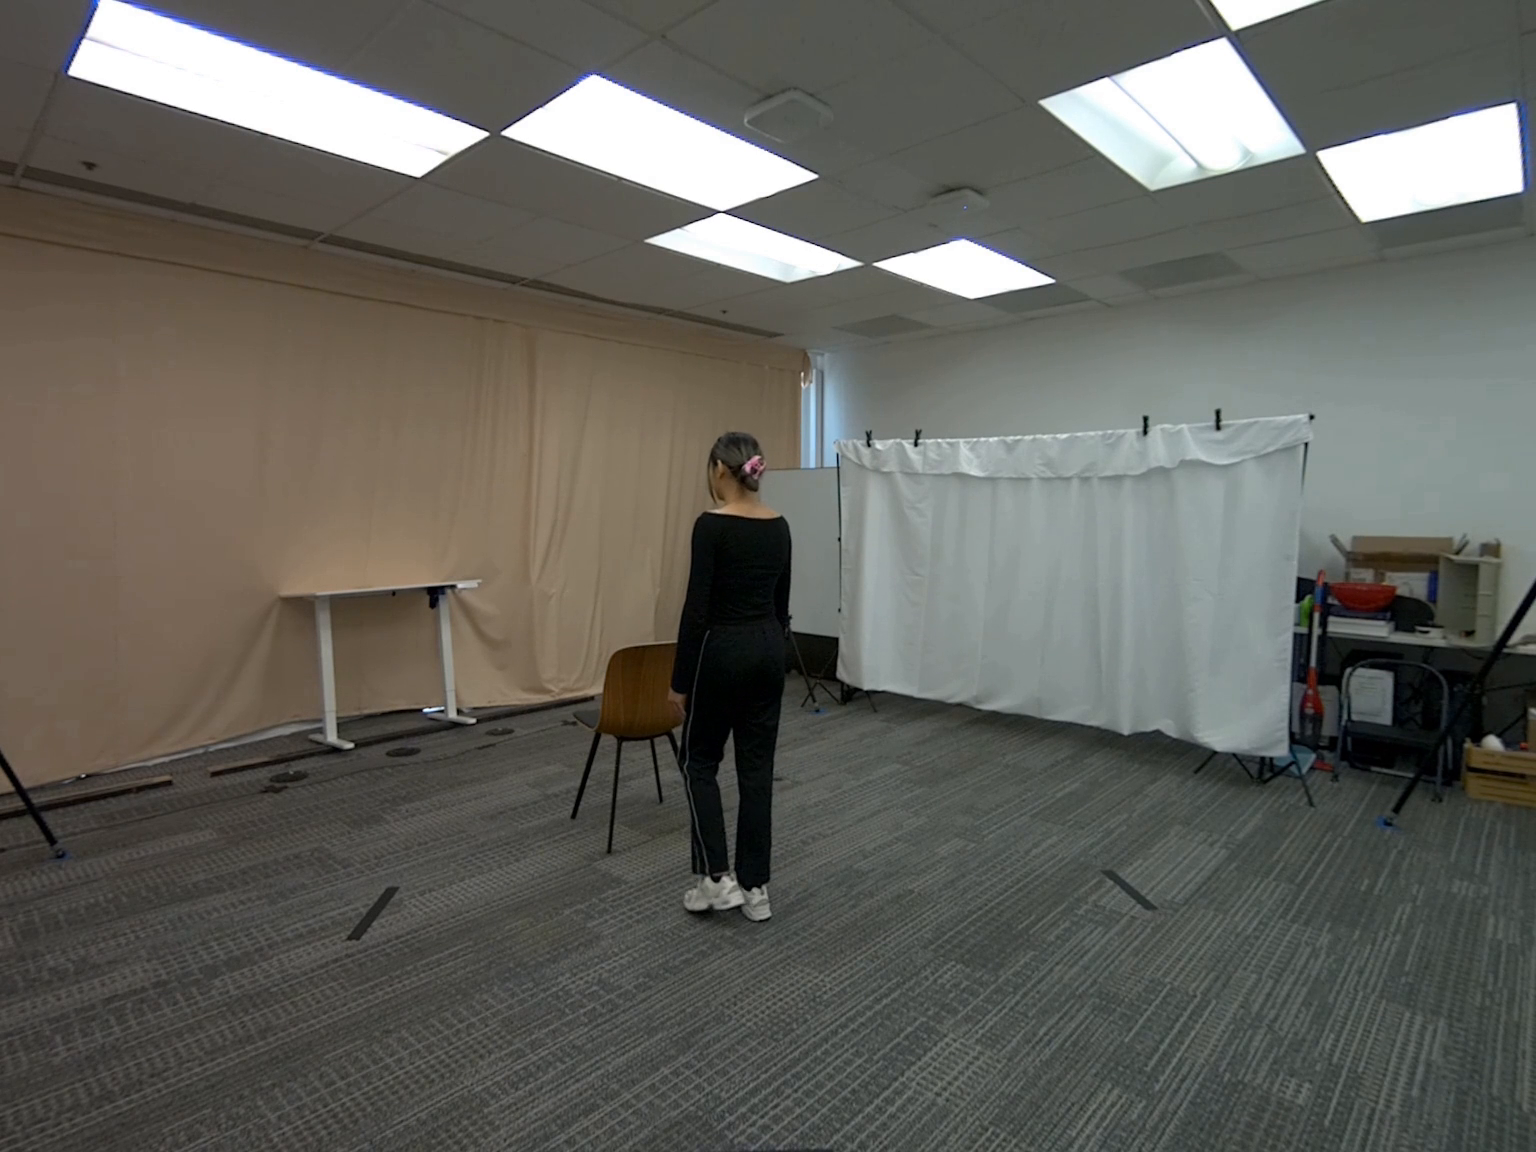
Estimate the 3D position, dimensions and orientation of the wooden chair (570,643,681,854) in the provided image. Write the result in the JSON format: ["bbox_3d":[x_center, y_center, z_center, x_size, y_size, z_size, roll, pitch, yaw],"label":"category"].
[{"bbox_3d":[-0.581,0.663,3.658,0.465,0.874,0.539,-3,8,-30],"label":"wooden chair"}]
